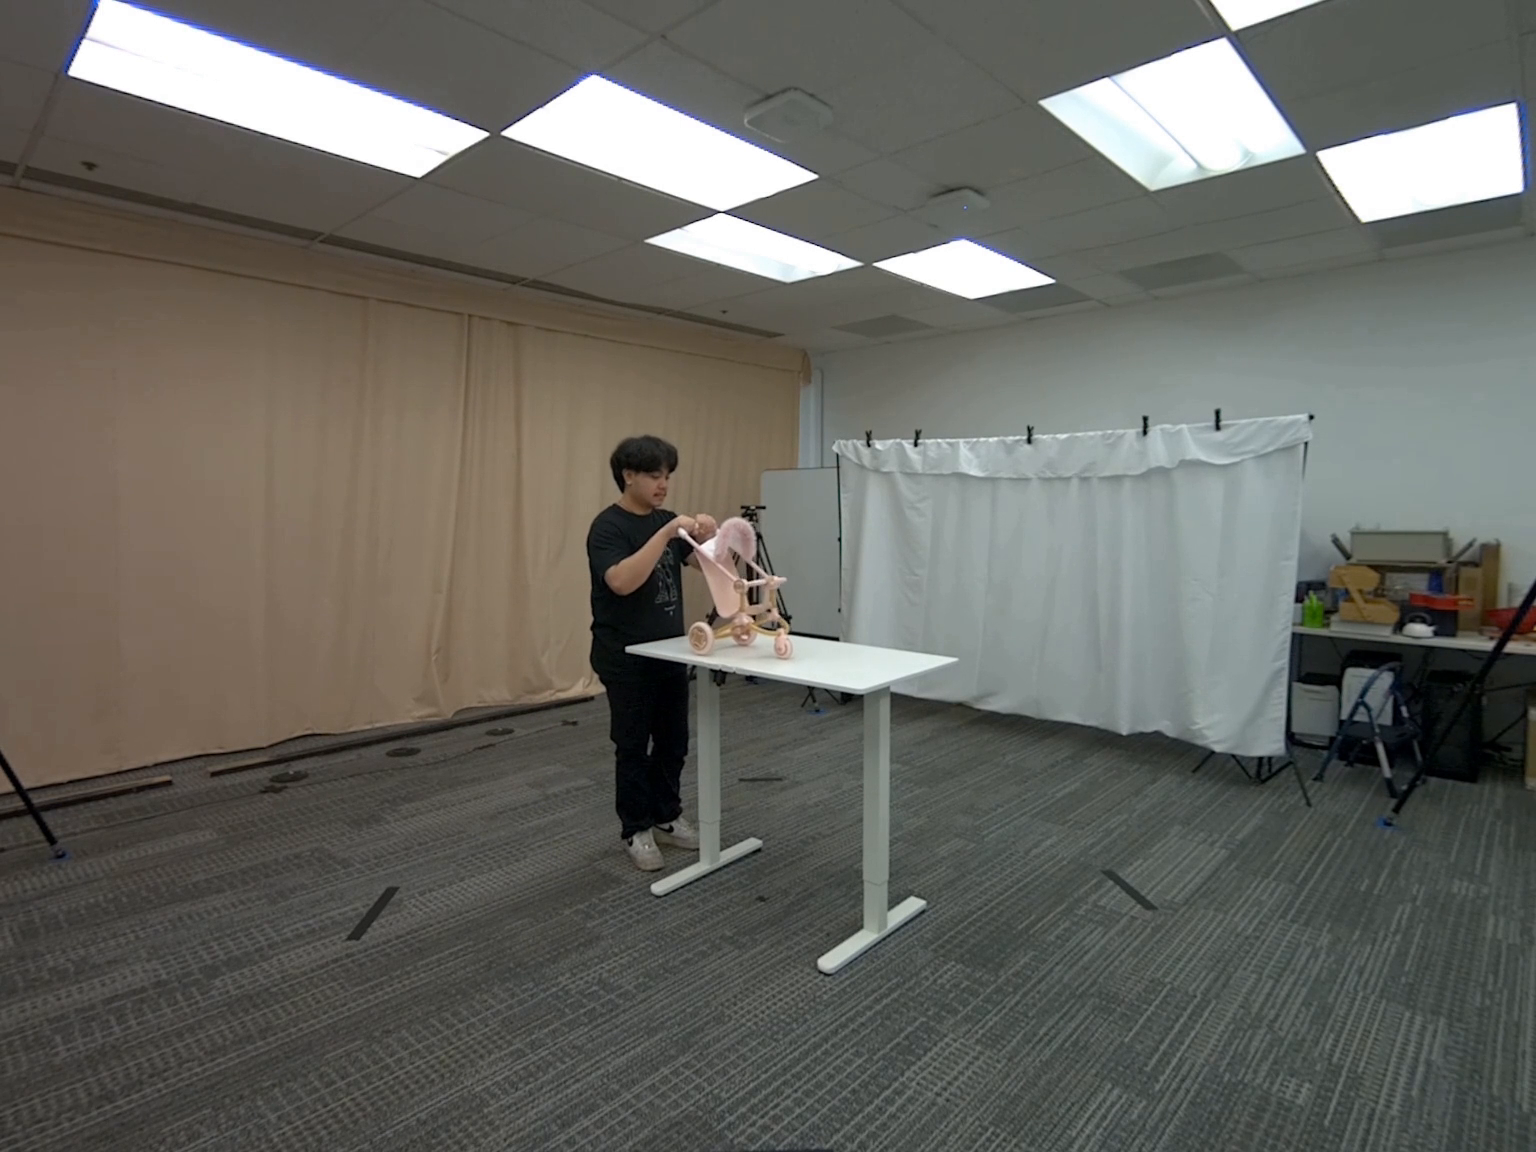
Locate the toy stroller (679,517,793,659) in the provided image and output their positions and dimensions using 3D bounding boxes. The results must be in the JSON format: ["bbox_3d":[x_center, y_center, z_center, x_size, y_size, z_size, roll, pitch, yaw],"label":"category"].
[{"bbox_3d":[-0.096,0.039,2.908,0.350,0.537,0.273,-14,-7,41],"label":"toy stroller"}]
